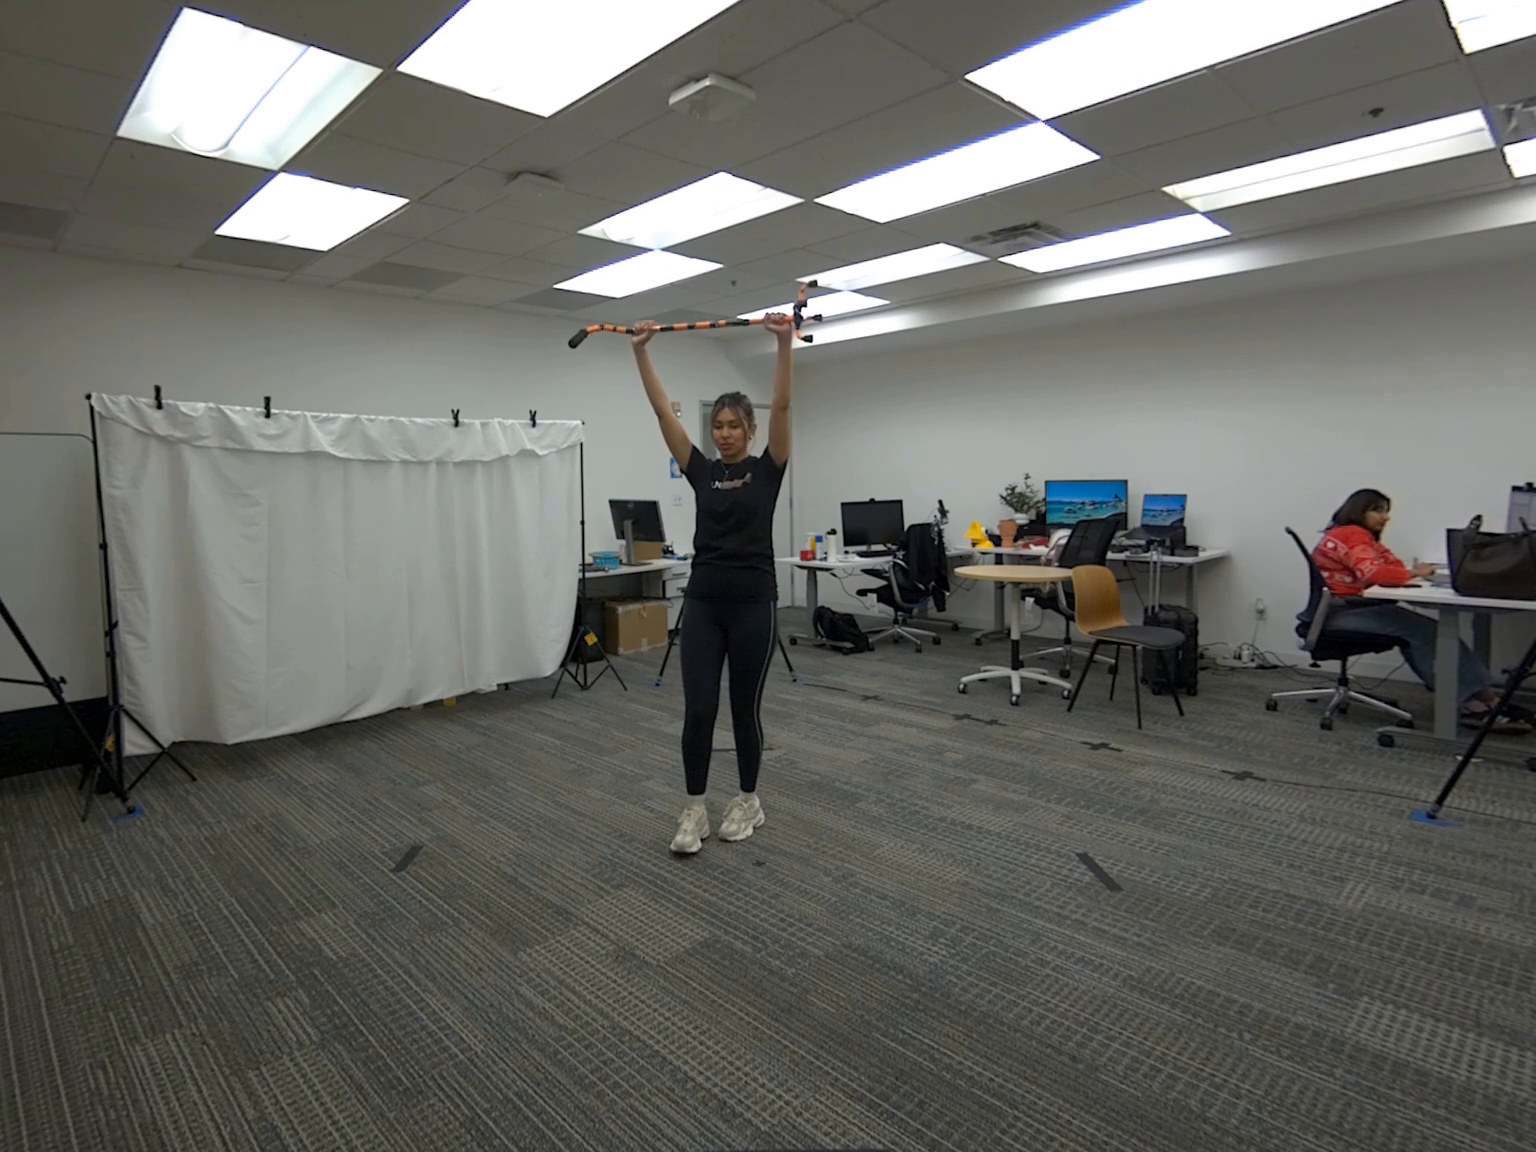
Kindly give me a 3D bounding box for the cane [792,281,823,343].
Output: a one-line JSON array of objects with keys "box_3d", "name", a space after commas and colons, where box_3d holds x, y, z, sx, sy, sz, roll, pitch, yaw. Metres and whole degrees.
[{"box_3d": [-0.275, -0.907, 3.050, 0.925, 0.147, 0.209, 1, 39, 19], "name": "cane"}]
